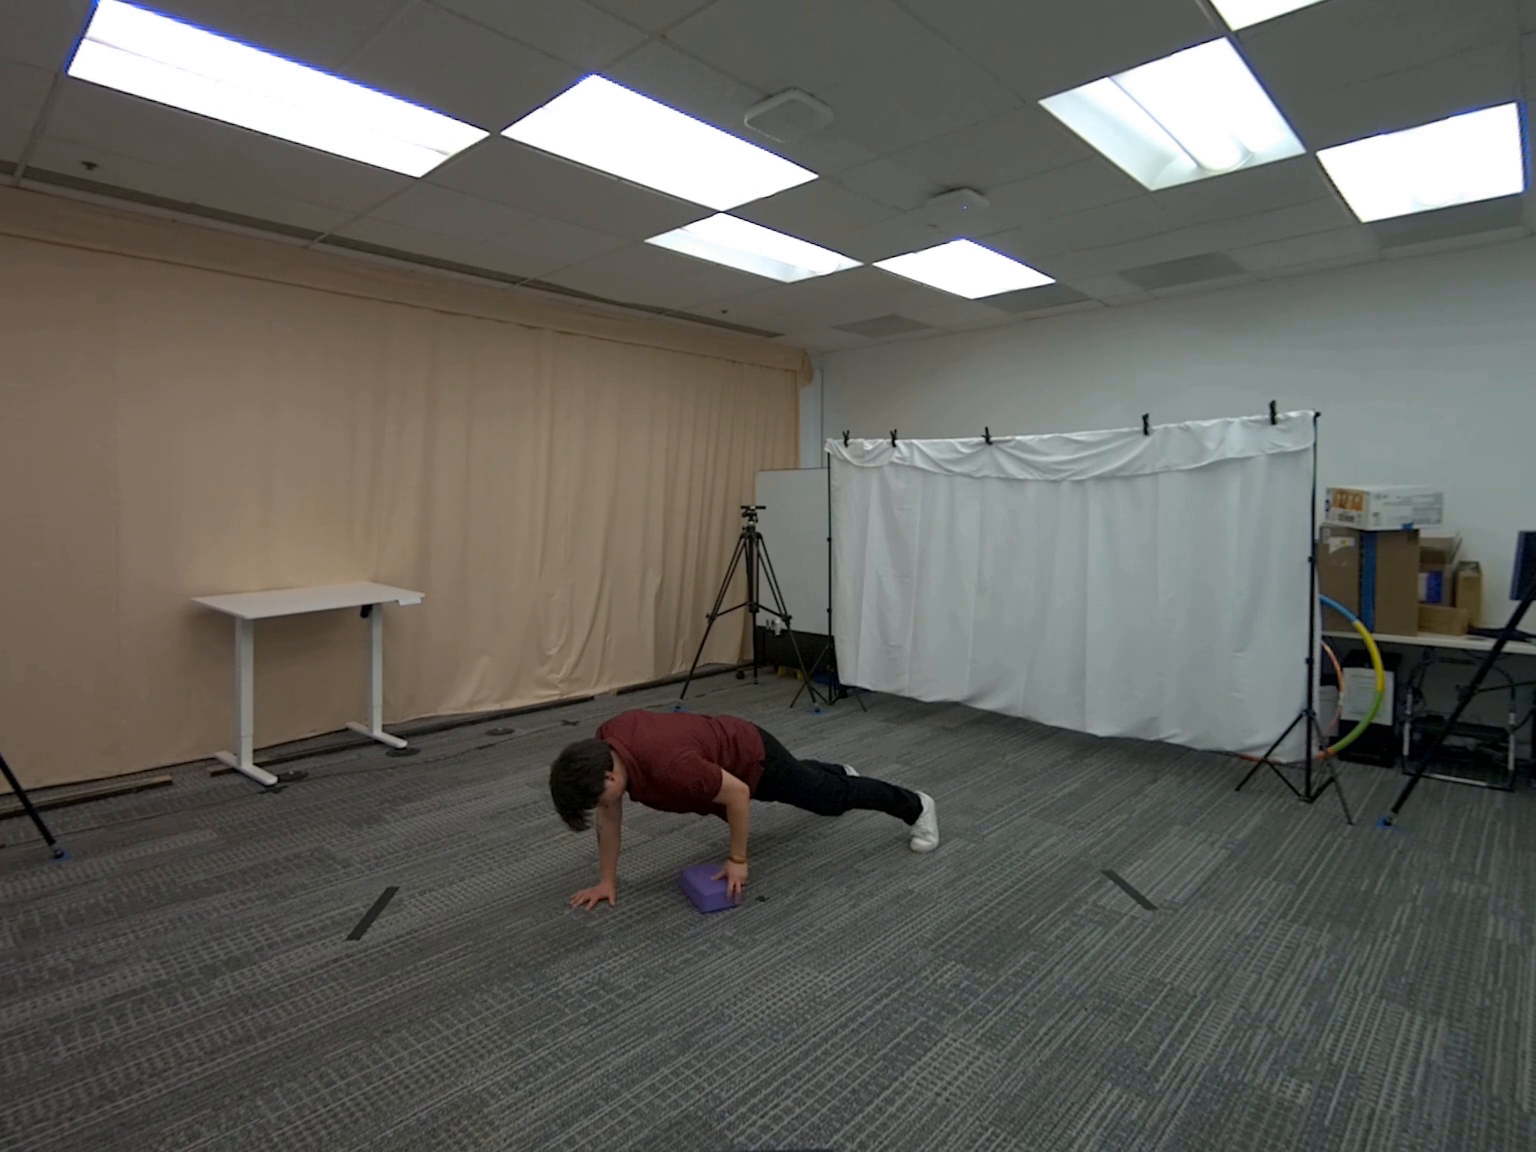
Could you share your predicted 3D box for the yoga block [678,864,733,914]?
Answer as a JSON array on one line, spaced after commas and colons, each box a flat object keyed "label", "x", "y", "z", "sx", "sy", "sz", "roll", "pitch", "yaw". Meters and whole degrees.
[{"label": "yoga block", "x": -0.213, "y": 1.101, "z": 2.994, "sx": 0.145, "sy": 0.076, "sz": 0.235, "roll": 1, "pitch": 6, "yaw": -24}]
